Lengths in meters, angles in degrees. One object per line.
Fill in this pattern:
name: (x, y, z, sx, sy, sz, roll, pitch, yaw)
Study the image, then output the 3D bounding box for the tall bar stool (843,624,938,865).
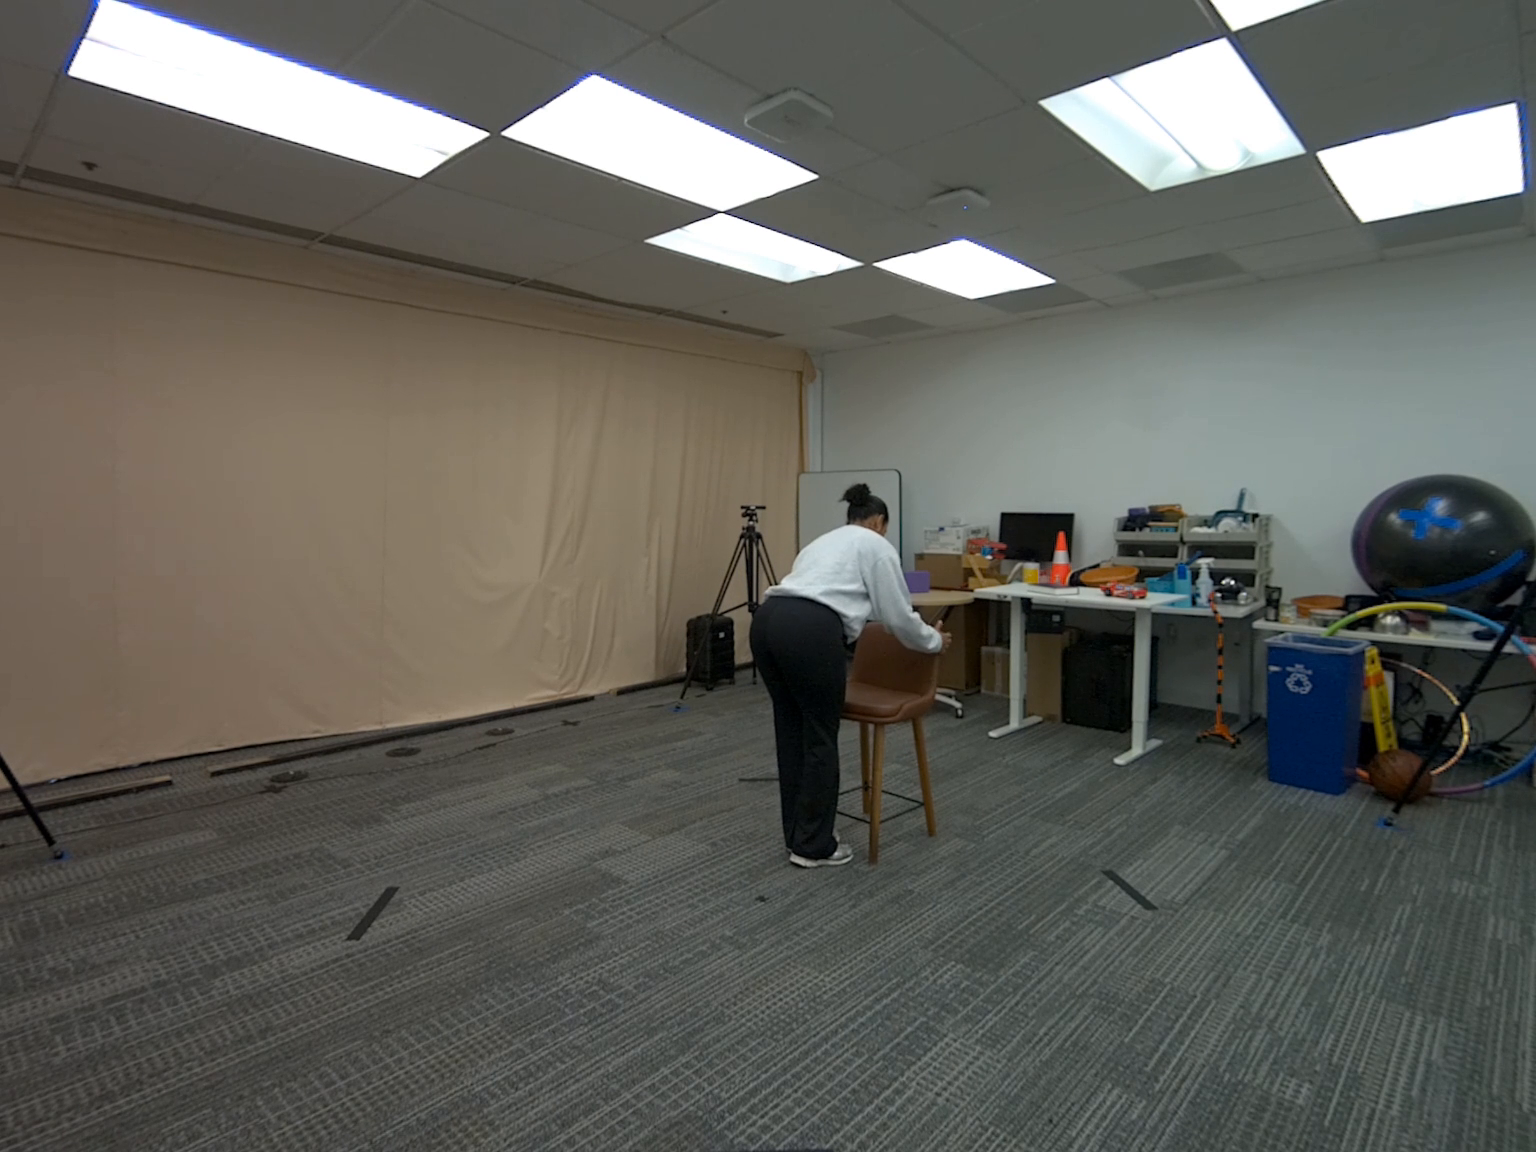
tall bar stool: (0.439, 0.657, 3.537, 0.453, 0.889, 0.472, 0, 3, -44)
